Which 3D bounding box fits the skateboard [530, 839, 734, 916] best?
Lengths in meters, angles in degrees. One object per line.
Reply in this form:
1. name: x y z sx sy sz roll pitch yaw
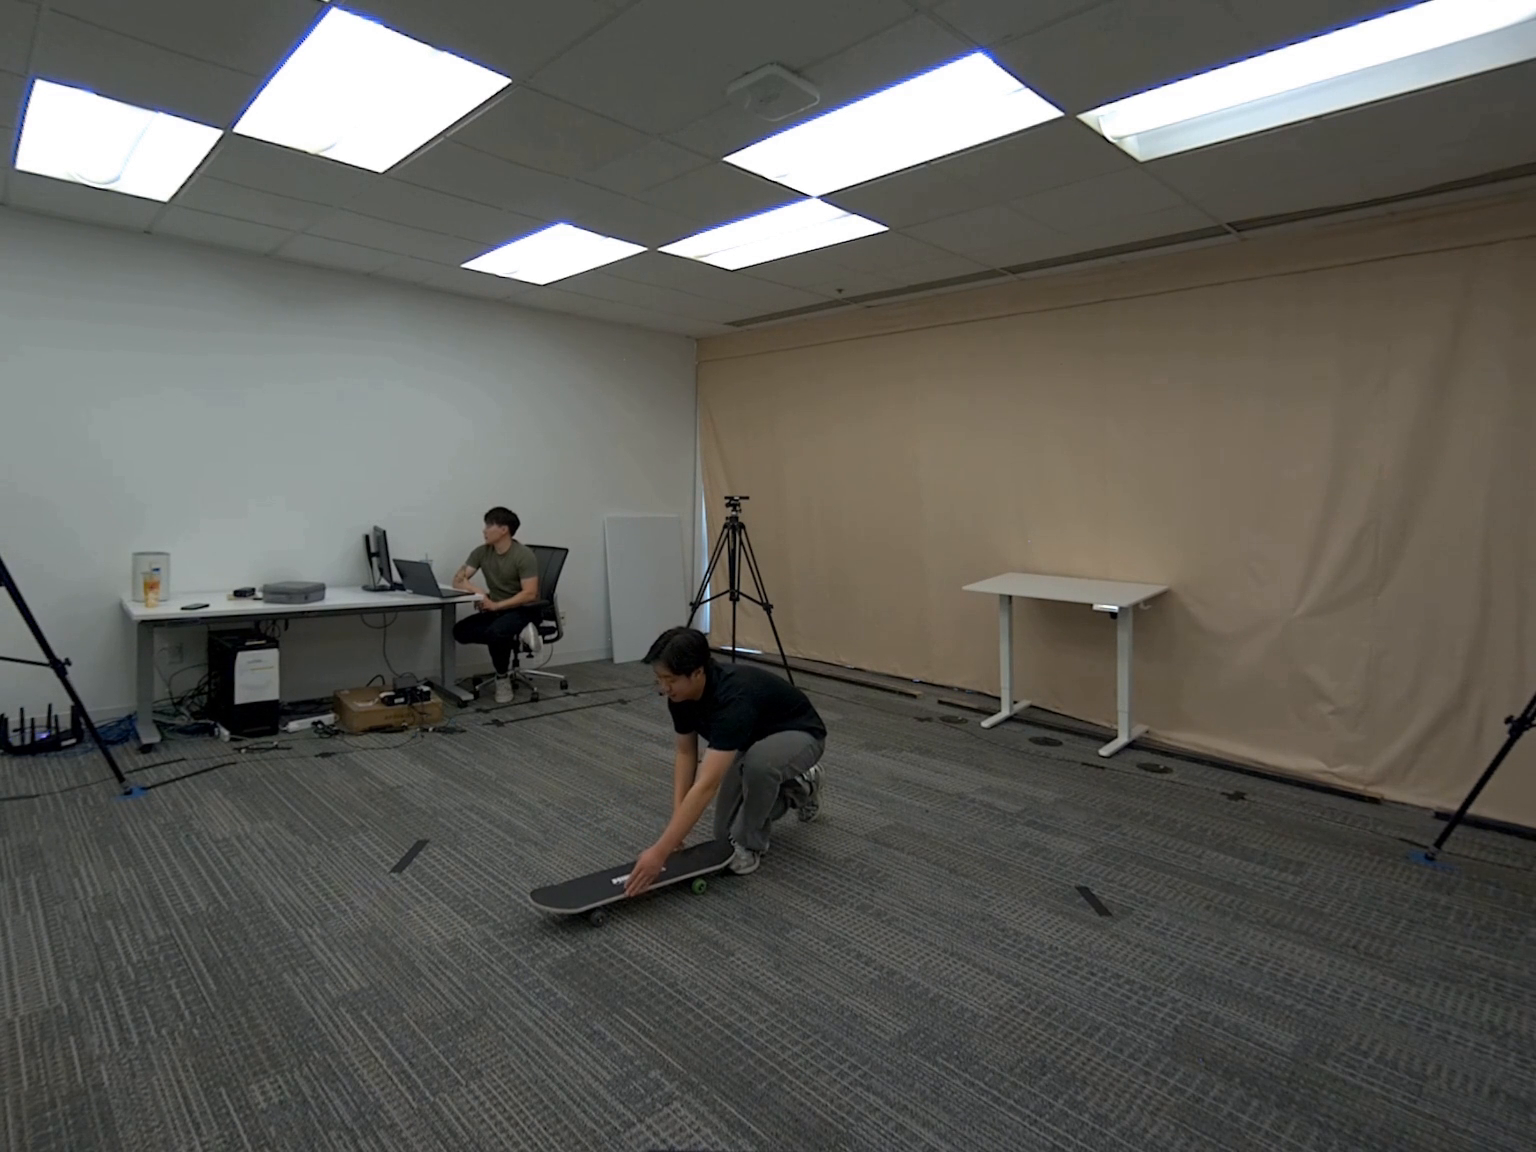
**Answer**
1. skateboard: -0.445 1.056 2.893 0.768 0.110 0.198 -3 7 -38
